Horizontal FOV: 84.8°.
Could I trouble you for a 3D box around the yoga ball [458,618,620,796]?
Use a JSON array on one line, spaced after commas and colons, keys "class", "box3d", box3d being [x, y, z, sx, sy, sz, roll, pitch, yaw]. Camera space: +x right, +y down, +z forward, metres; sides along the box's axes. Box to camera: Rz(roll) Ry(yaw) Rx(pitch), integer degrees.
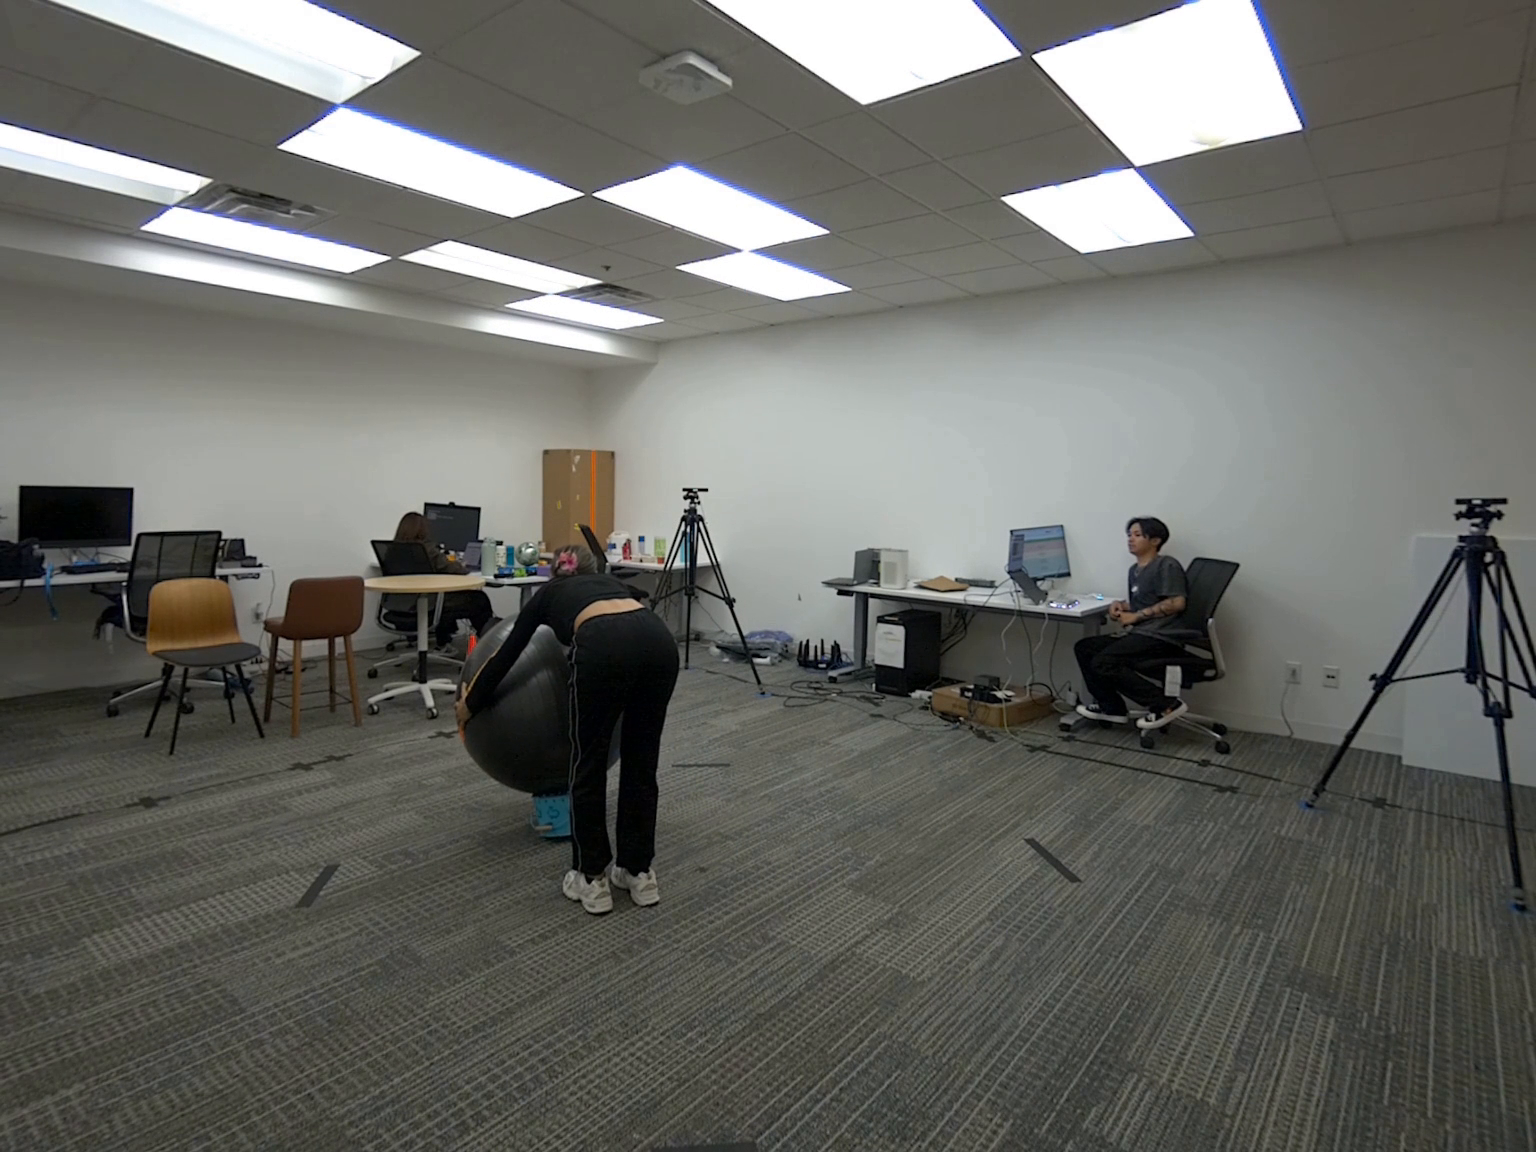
[{"class": "yoga ball", "box3d": [-0.914, 0.510, 3.510, 0.757, 0.755, 0.762, 1, 4, -2]}]
